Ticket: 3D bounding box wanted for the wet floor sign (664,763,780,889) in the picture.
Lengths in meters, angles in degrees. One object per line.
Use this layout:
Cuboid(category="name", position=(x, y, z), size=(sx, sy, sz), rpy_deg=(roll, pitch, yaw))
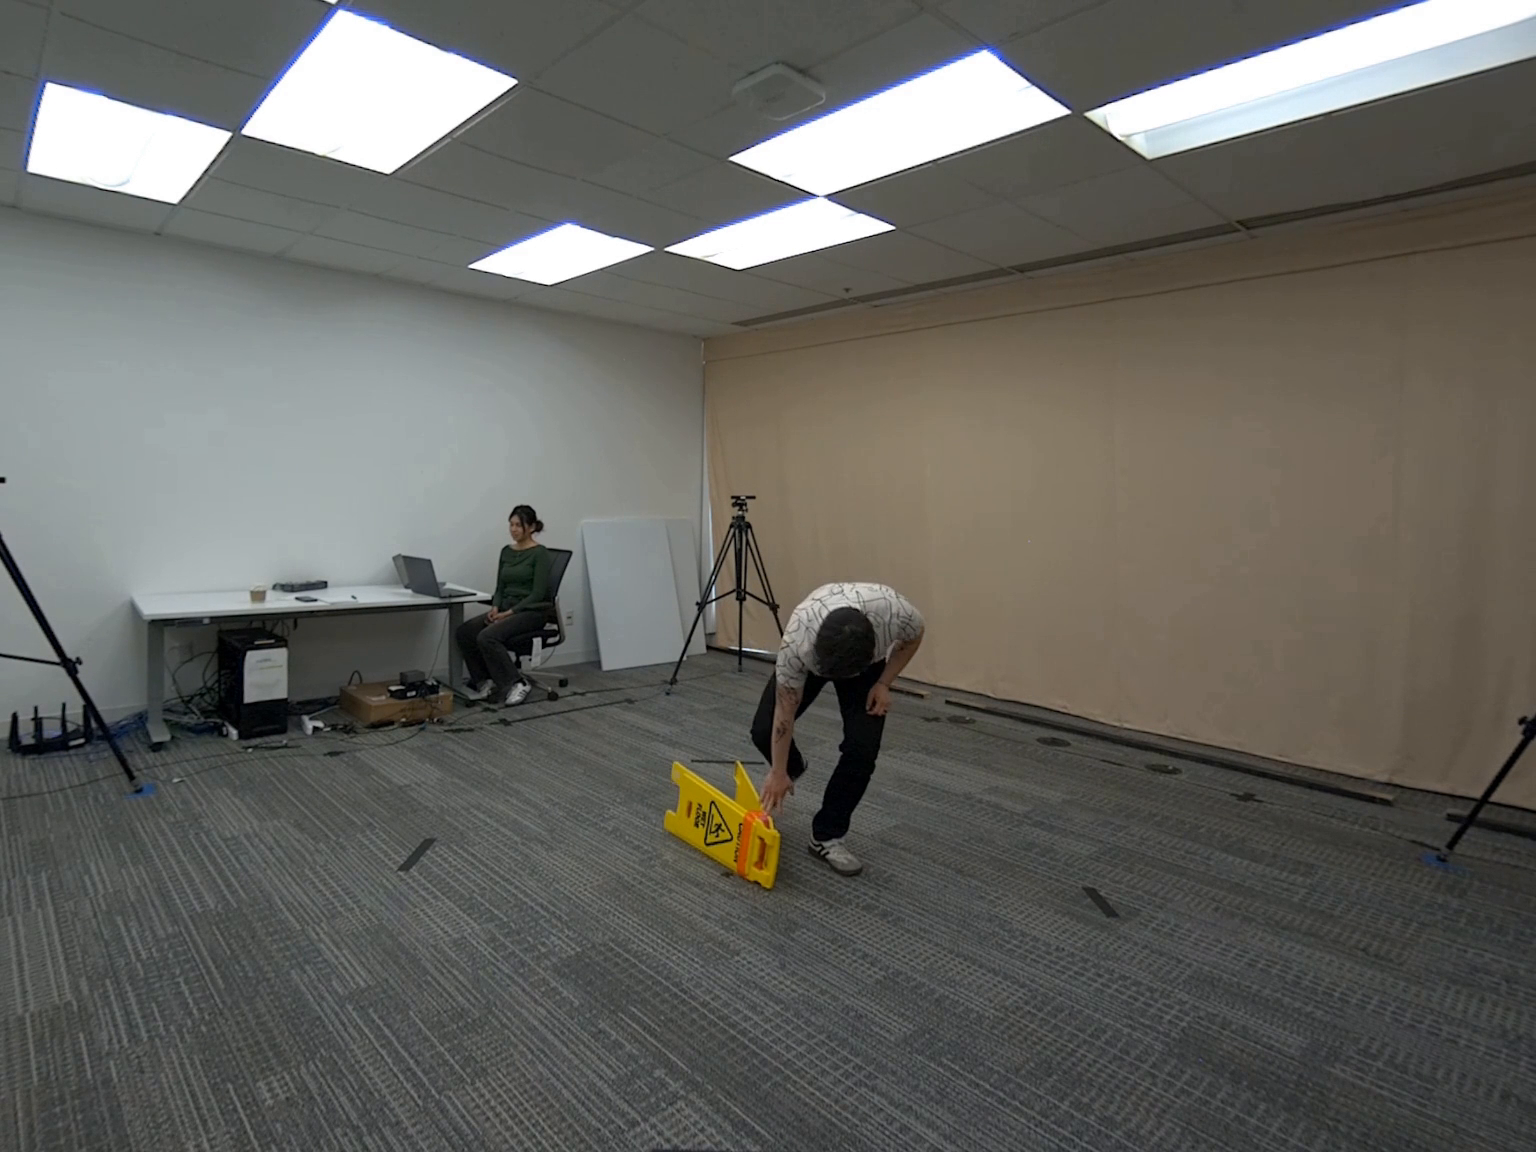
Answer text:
Cuboid(category="wet floor sign", position=(-0.135, 0.958, 3.238), size=(0.283, 0.281, 0.661), rpy_deg=(5, 5, -29))
